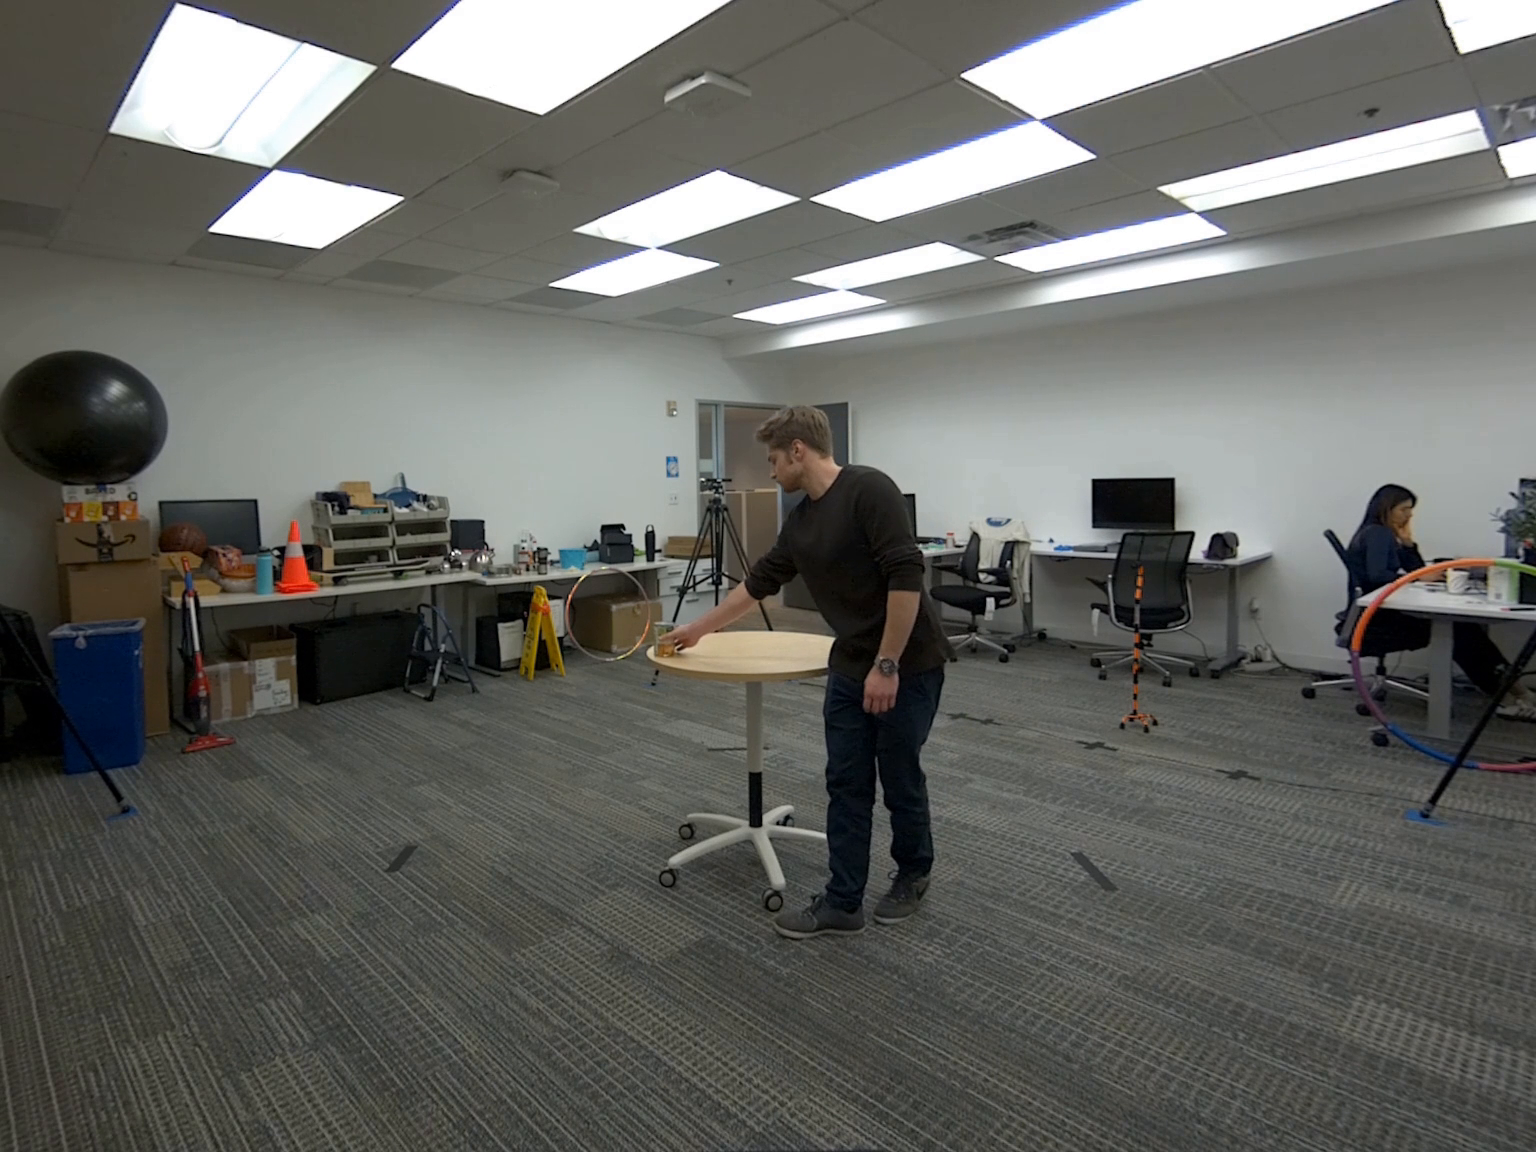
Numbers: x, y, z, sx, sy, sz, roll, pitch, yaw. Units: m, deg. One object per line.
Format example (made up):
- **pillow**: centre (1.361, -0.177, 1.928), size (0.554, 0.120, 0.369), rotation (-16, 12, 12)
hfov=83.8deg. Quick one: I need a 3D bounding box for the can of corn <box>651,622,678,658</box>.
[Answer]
- **can of corn**: centre (-0.357, 0.223, 2.986), size (0.074, 0.110, 0.075), rotation (-2, 7, -1)
